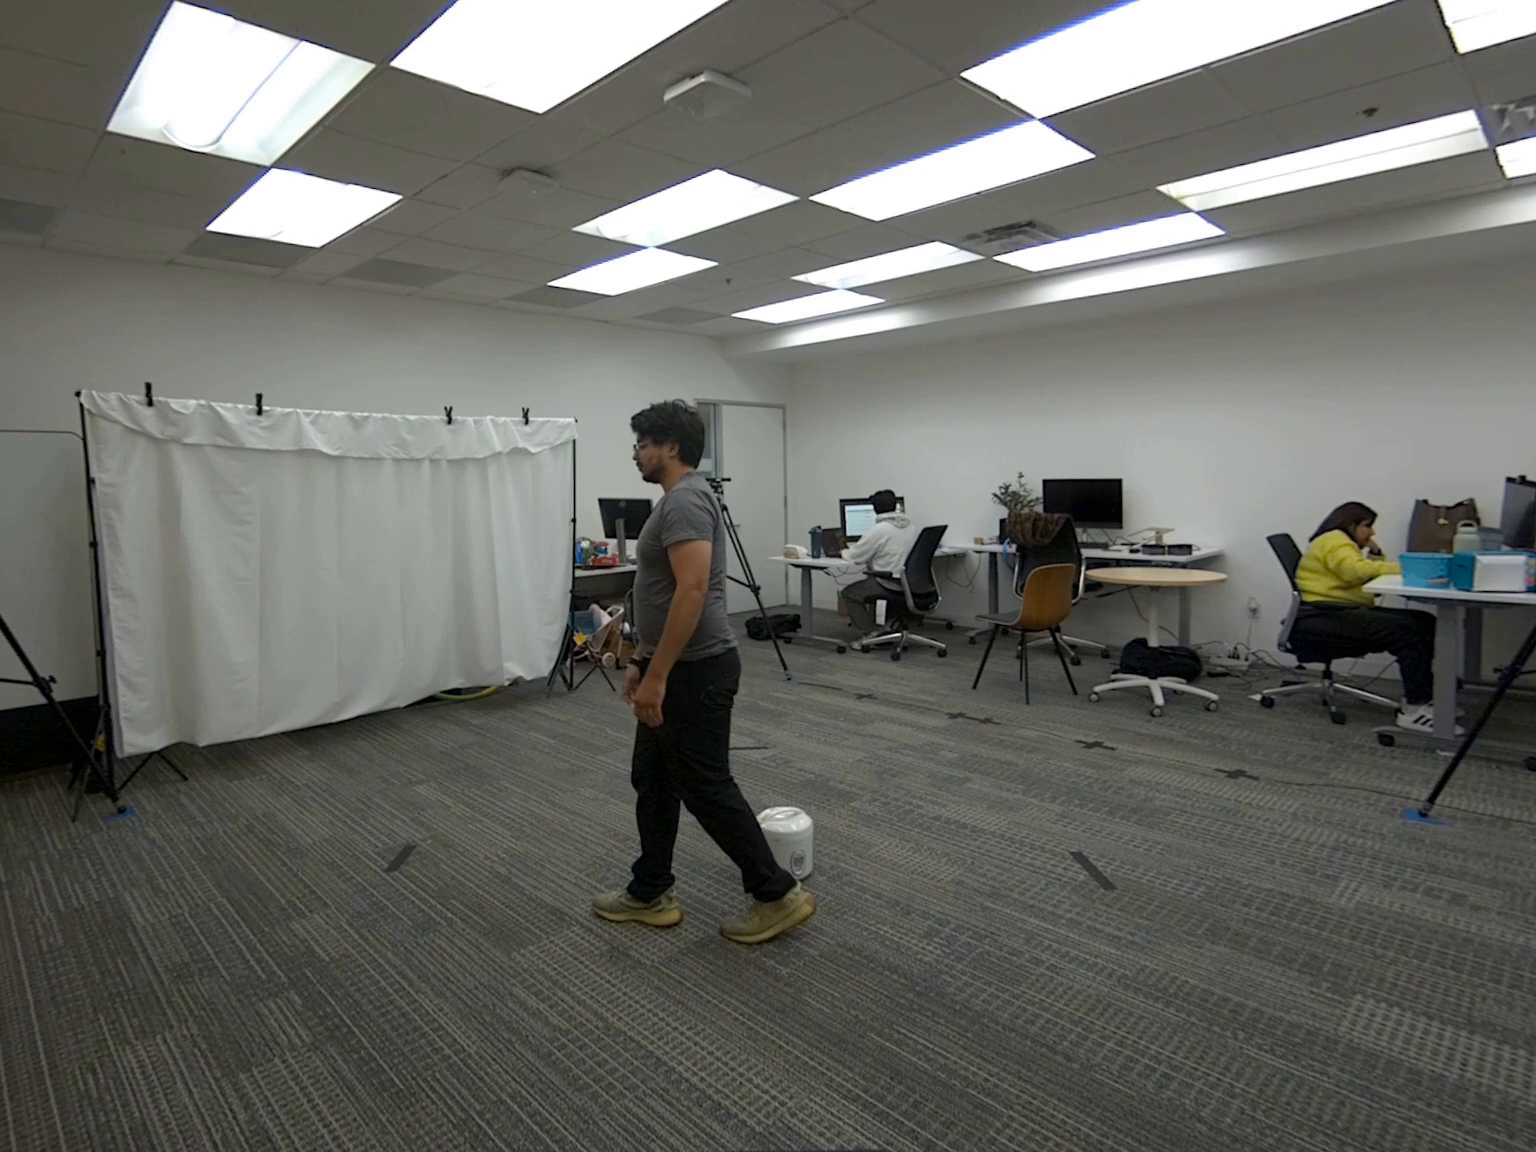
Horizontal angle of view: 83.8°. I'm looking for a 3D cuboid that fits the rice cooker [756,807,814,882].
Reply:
[{"bbox_3d":[0.058,0.933,3.016,0.216,0.232,0.223,-3,4,-26],"label":"rice cooker"}]
